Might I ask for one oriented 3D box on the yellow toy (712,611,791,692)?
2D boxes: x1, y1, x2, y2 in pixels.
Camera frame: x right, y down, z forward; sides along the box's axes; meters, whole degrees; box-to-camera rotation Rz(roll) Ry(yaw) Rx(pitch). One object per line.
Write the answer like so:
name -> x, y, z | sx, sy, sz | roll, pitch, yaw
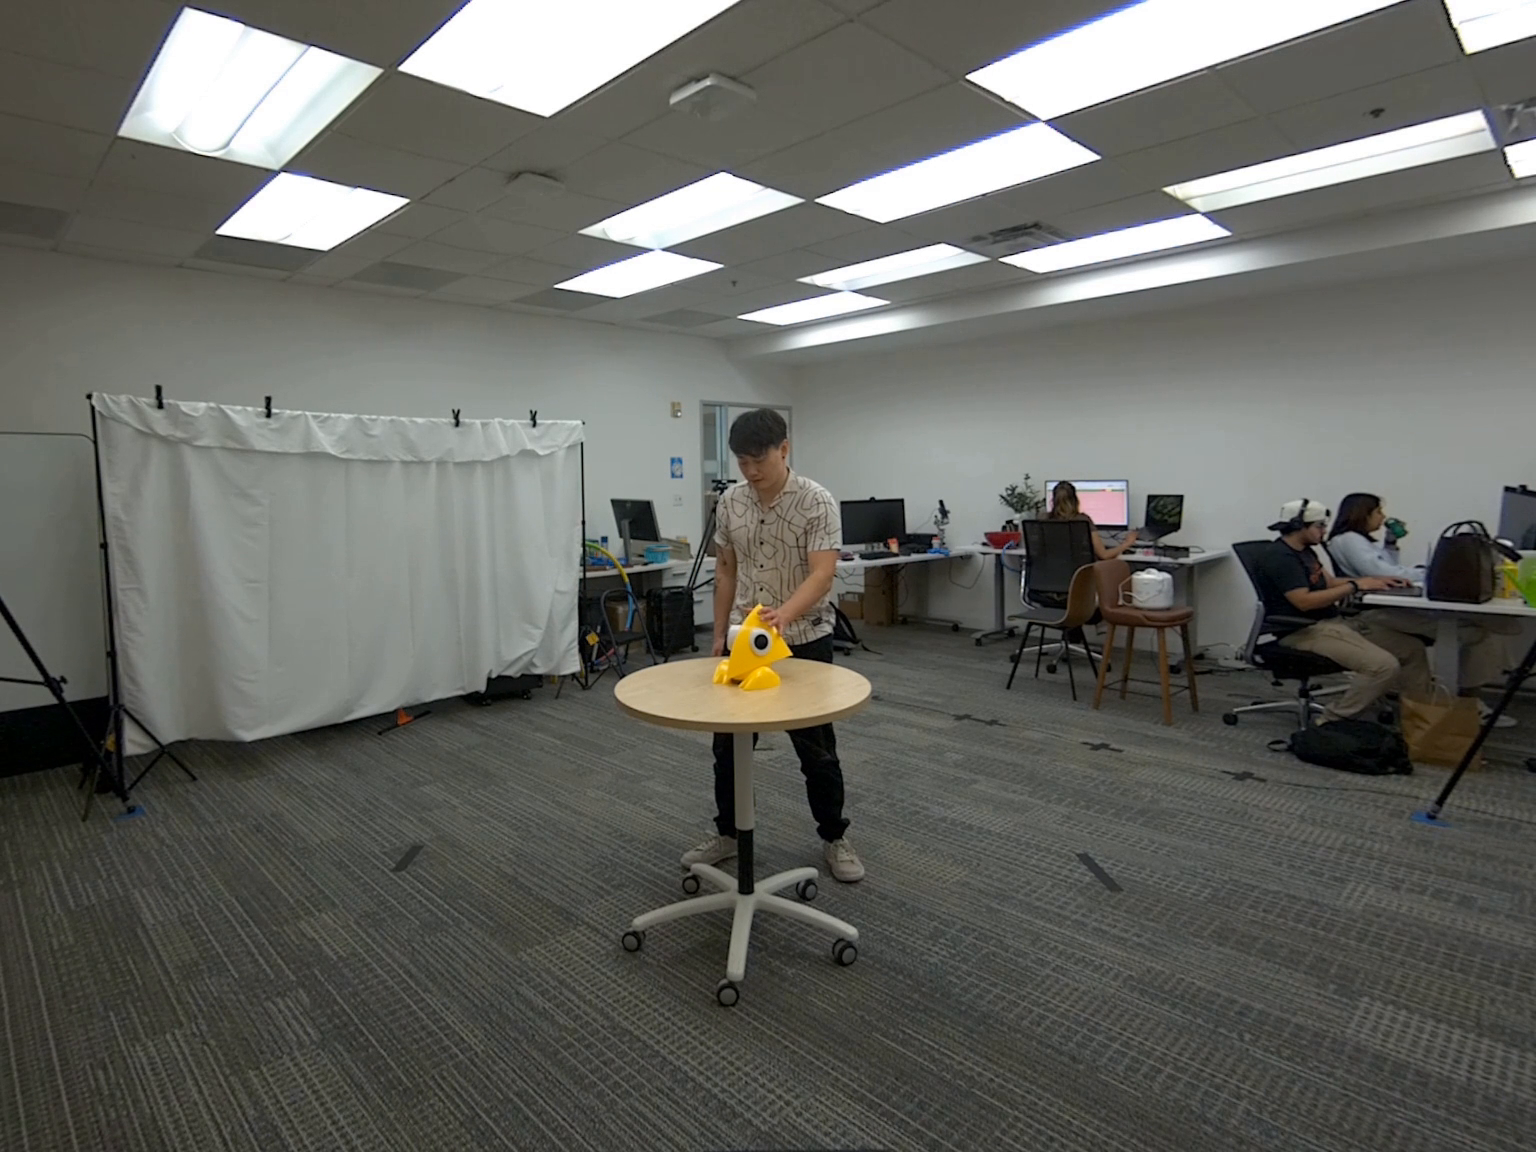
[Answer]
yellow toy -> -0.062, 0.212, 2.599 | 0.211, 0.229, 0.188 | 4, 7, 41
